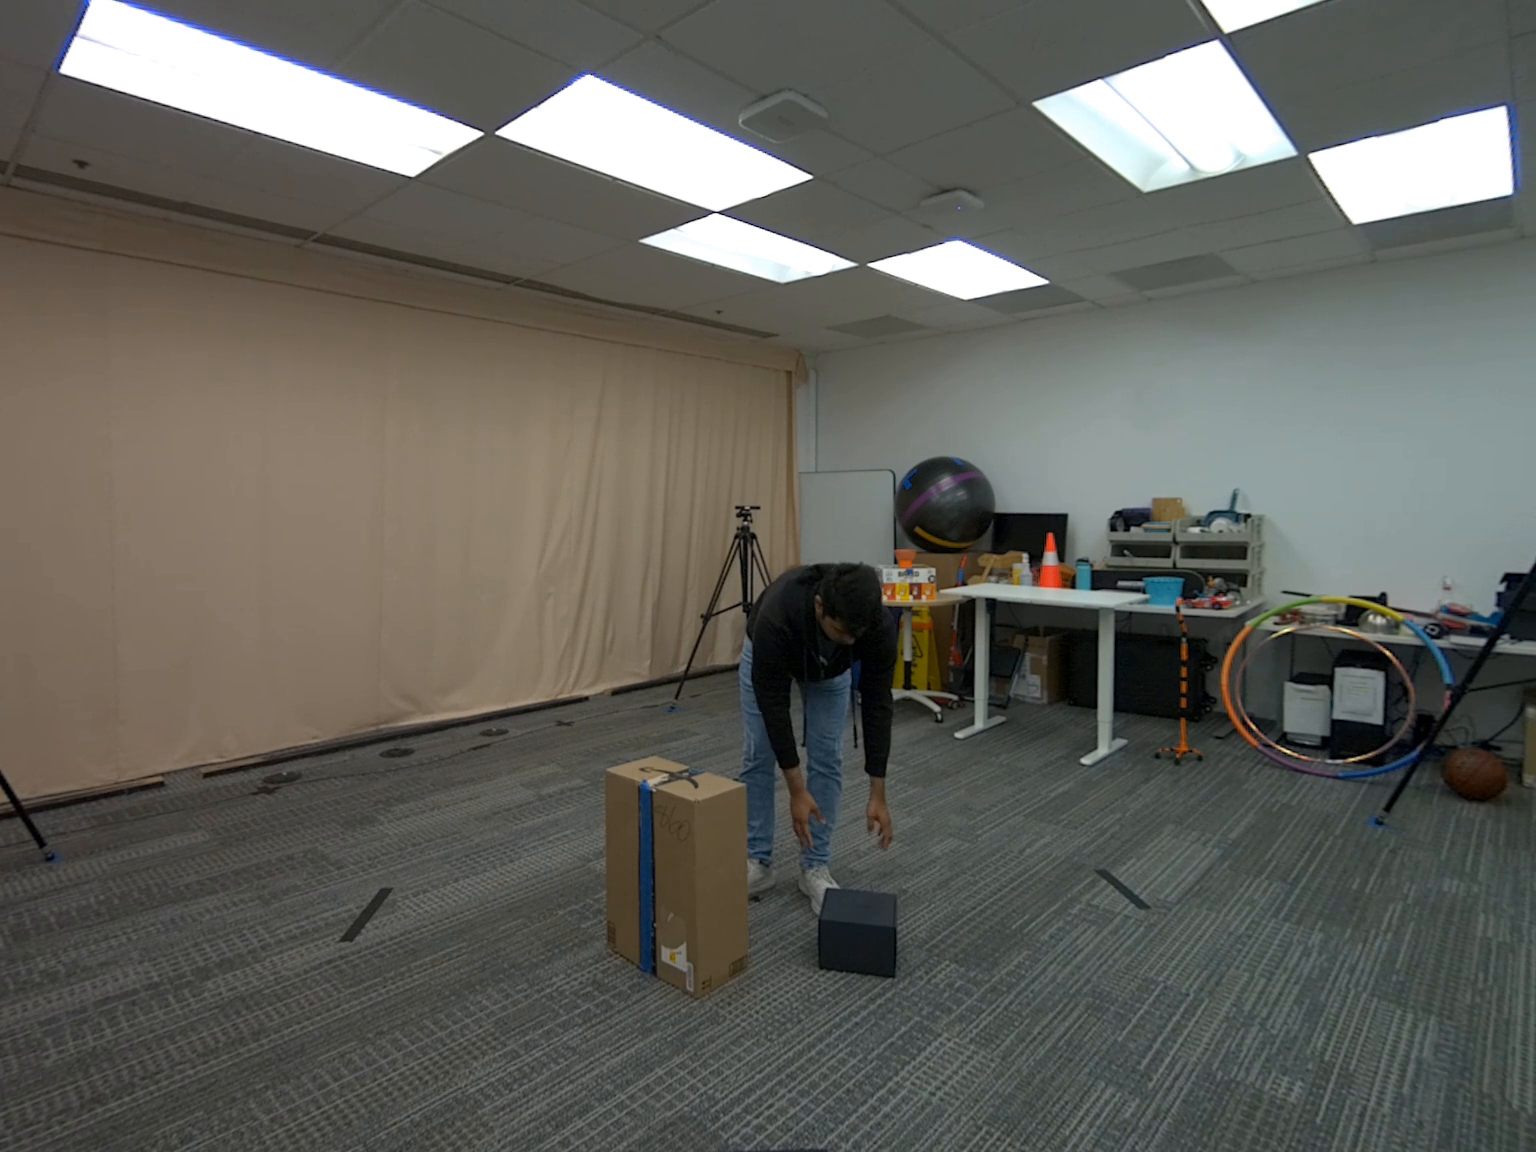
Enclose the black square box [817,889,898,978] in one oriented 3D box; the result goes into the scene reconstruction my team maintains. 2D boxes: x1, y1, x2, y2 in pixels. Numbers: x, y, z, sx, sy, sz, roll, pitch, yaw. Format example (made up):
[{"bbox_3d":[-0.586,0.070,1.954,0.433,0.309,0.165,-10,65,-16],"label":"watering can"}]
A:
[{"bbox_3d":[0.289,1.091,2.591,0.231,0.155,0.215,1,4,11],"label":"black square box"}]
